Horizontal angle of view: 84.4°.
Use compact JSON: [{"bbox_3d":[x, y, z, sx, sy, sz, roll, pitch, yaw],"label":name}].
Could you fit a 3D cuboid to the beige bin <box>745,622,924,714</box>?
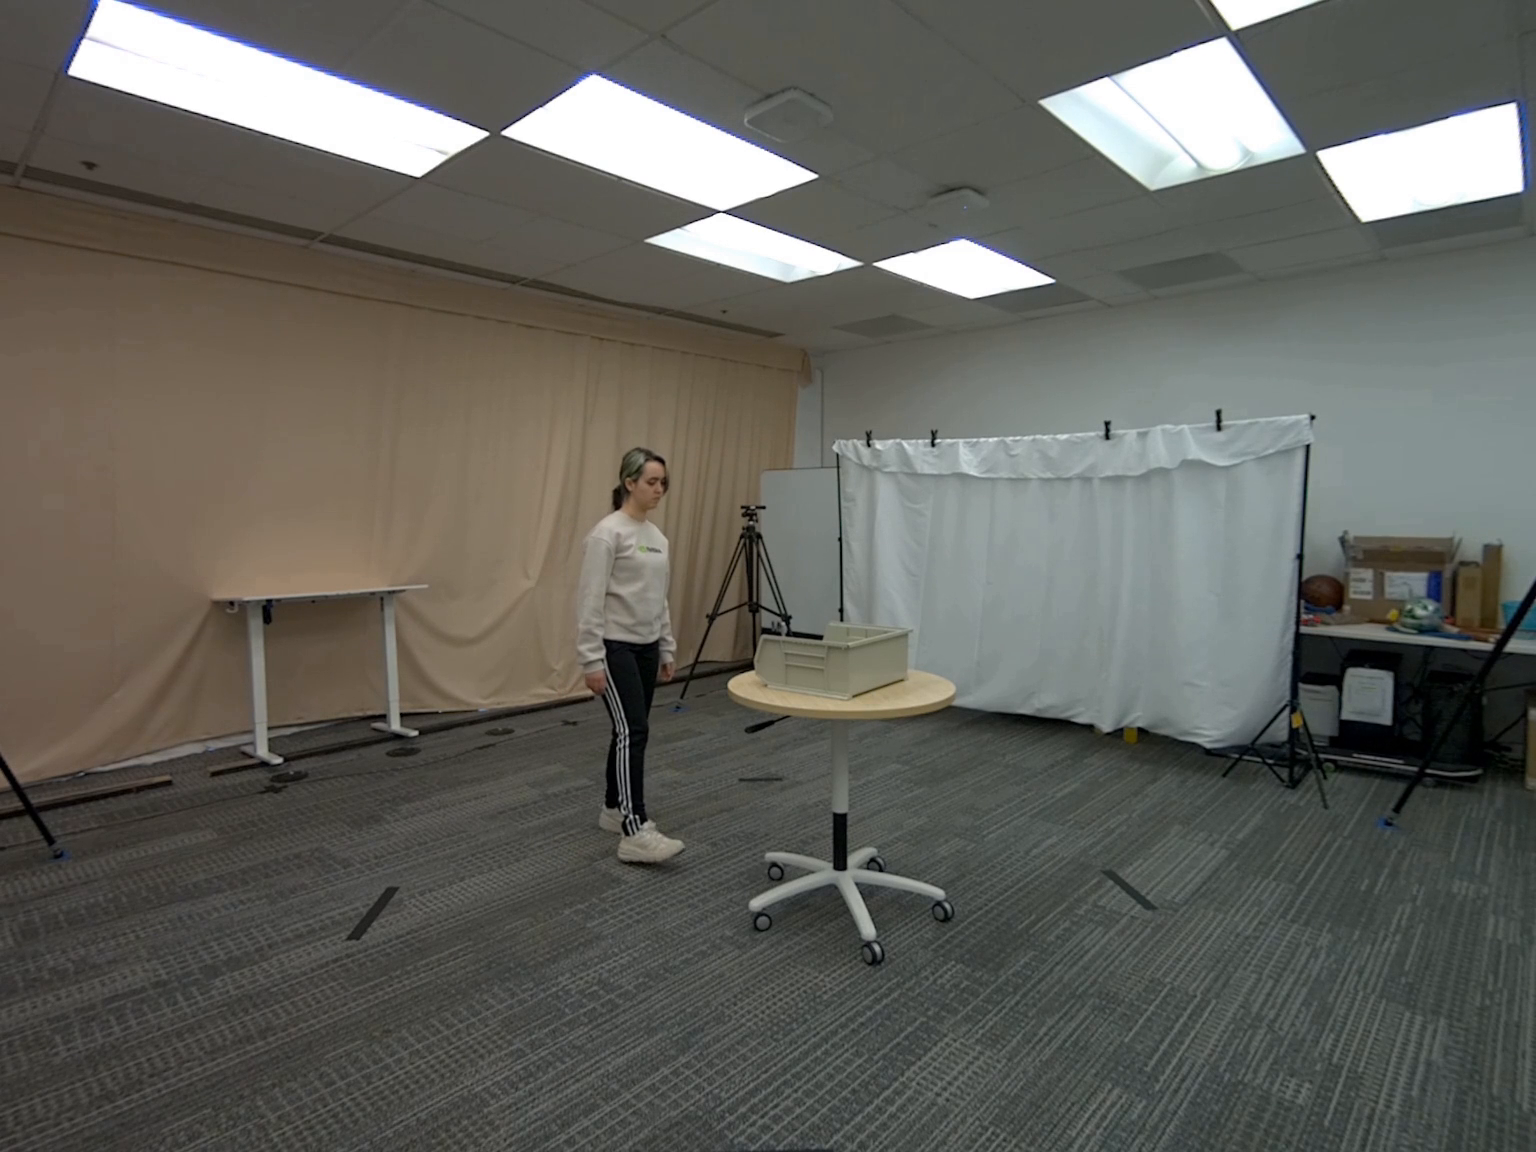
[{"bbox_3d":[0.230,0.281,2.887,0.390,0.188,0.410,4,6,39],"label":"beige bin"}]
